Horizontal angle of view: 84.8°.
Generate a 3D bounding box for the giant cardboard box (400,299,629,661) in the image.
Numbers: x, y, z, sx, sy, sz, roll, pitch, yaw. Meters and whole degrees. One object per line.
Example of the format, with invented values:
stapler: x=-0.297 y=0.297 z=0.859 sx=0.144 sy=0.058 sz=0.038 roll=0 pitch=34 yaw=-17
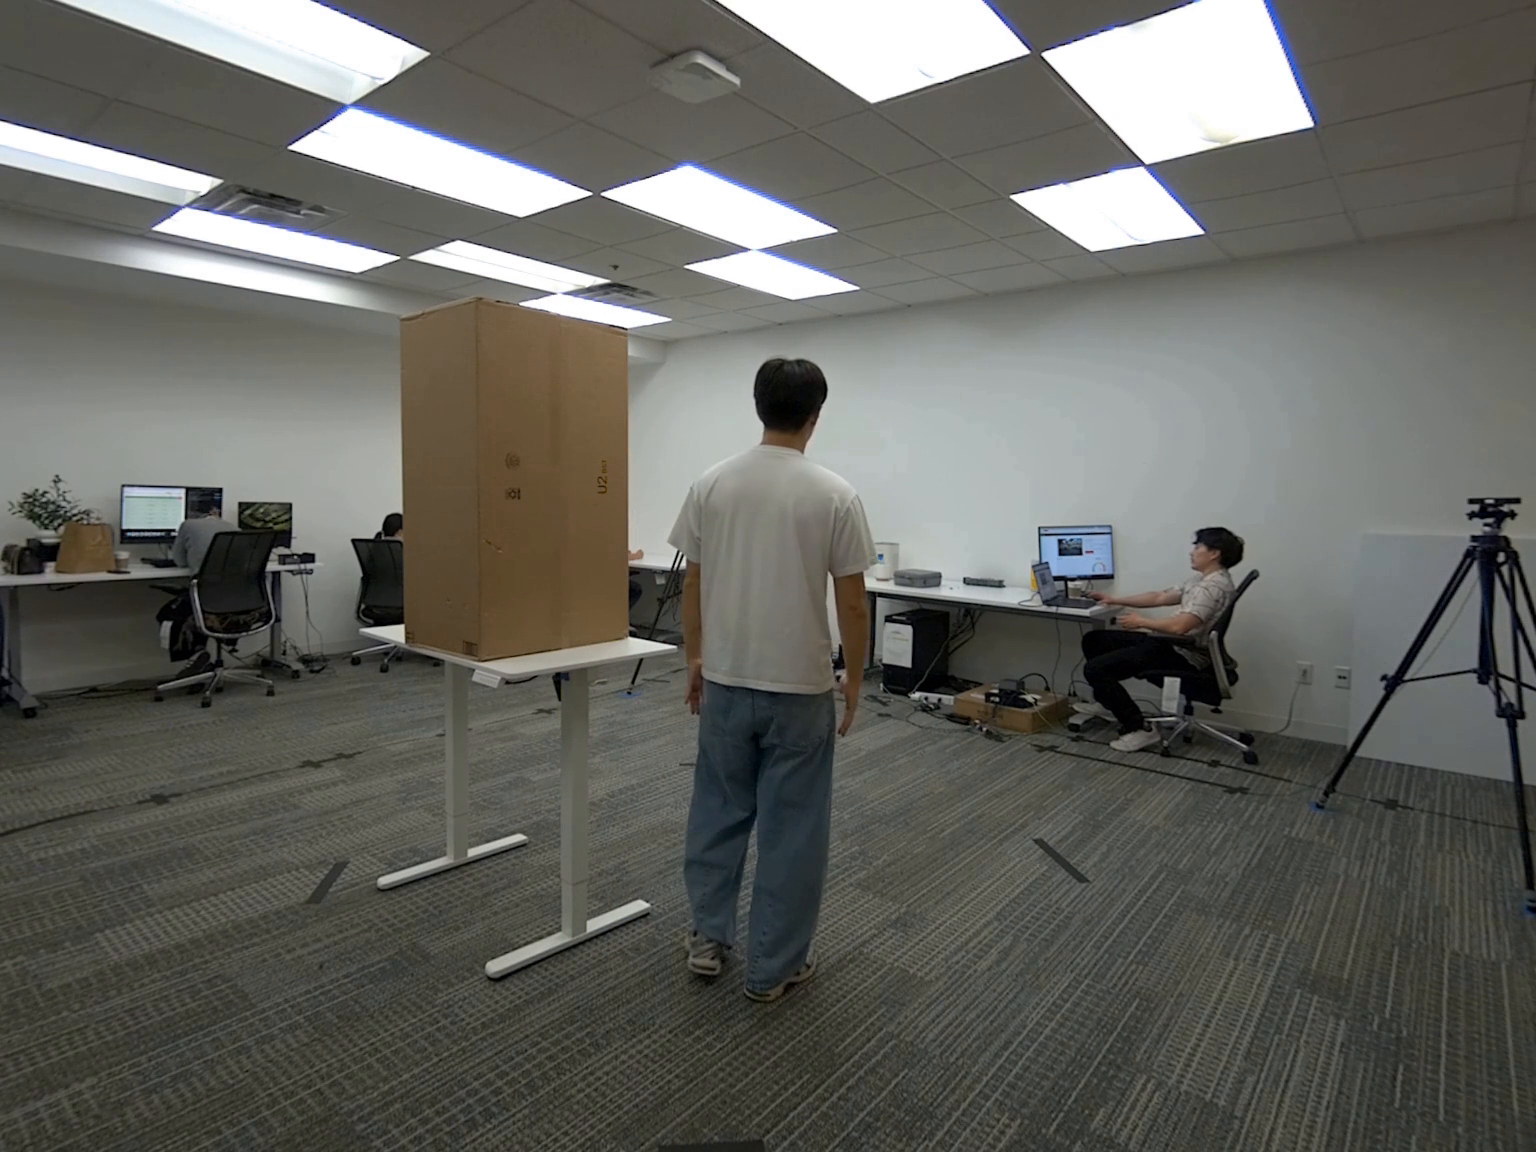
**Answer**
giant cardboard box: x=-0.816 y=-0.296 z=2.720 sx=0.440 sy=1.023 sz=0.560 roll=3 pitch=4 yaw=40
